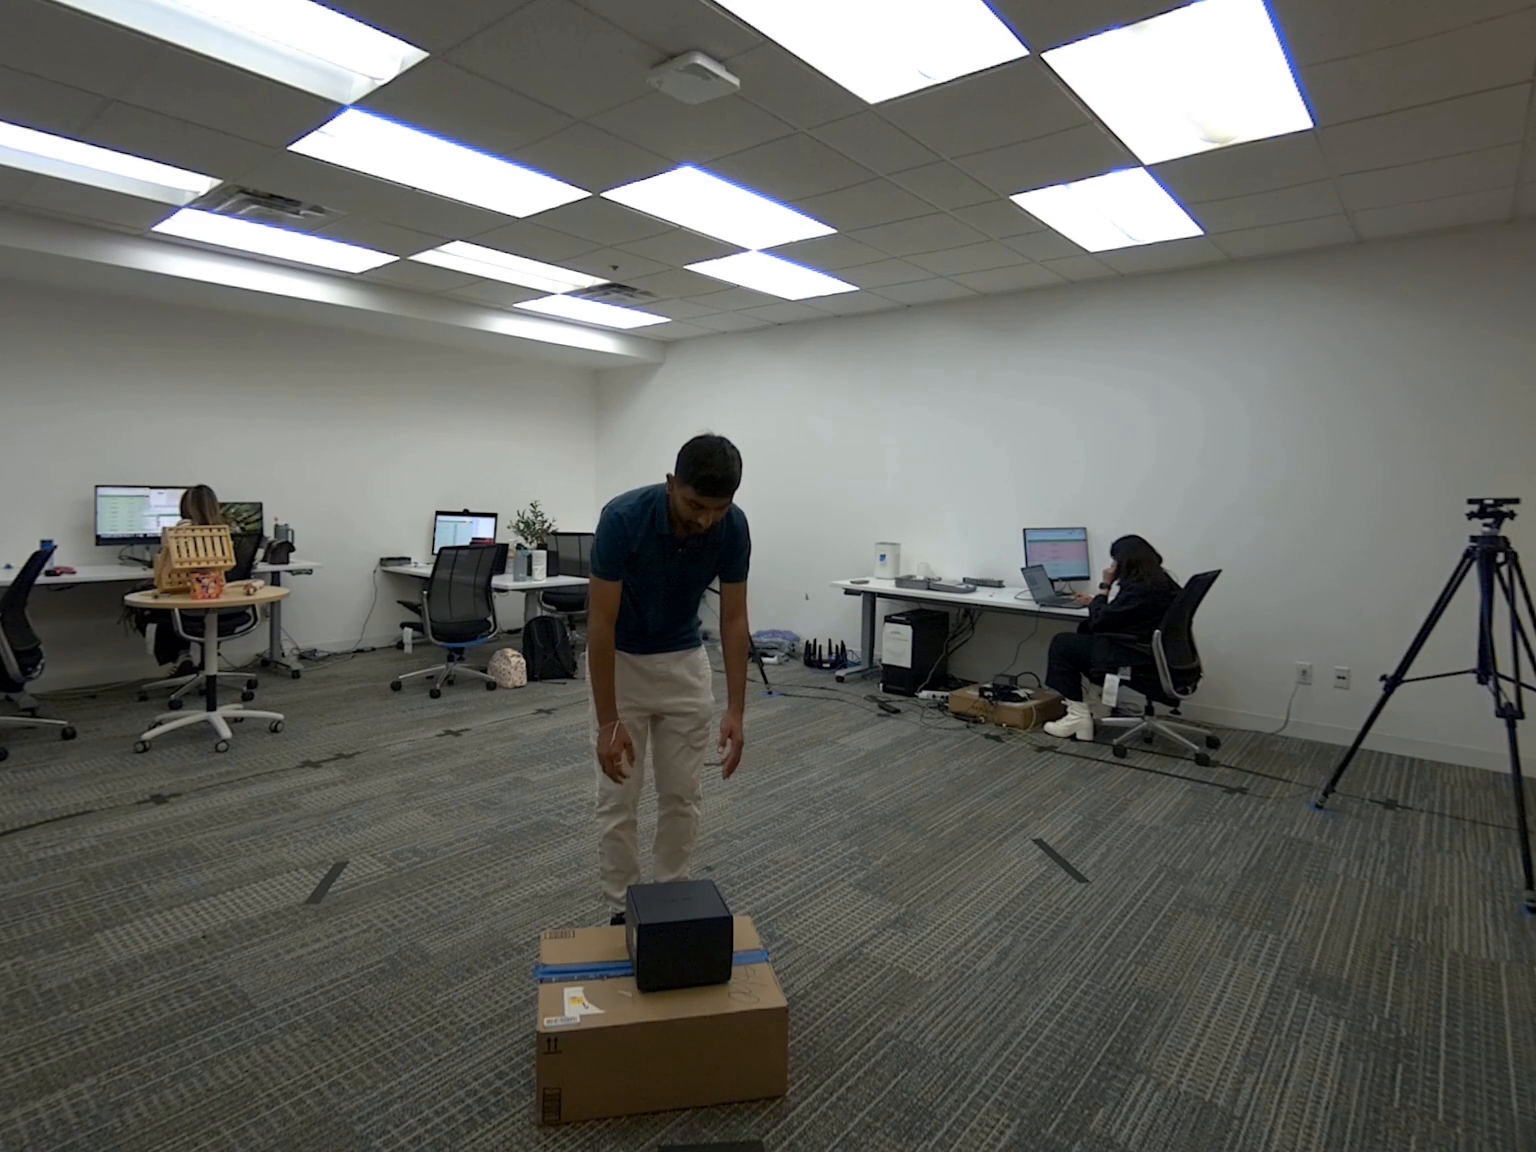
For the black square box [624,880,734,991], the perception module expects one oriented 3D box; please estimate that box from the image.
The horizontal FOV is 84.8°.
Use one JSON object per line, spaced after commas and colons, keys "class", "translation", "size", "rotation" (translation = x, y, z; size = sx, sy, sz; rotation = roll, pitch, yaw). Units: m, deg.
{"class": "black square box", "translation": [-0.229, 0.867, 2.097], "size": [0.224, 0.155, 0.221], "rotation": [1, 3, -16]}
